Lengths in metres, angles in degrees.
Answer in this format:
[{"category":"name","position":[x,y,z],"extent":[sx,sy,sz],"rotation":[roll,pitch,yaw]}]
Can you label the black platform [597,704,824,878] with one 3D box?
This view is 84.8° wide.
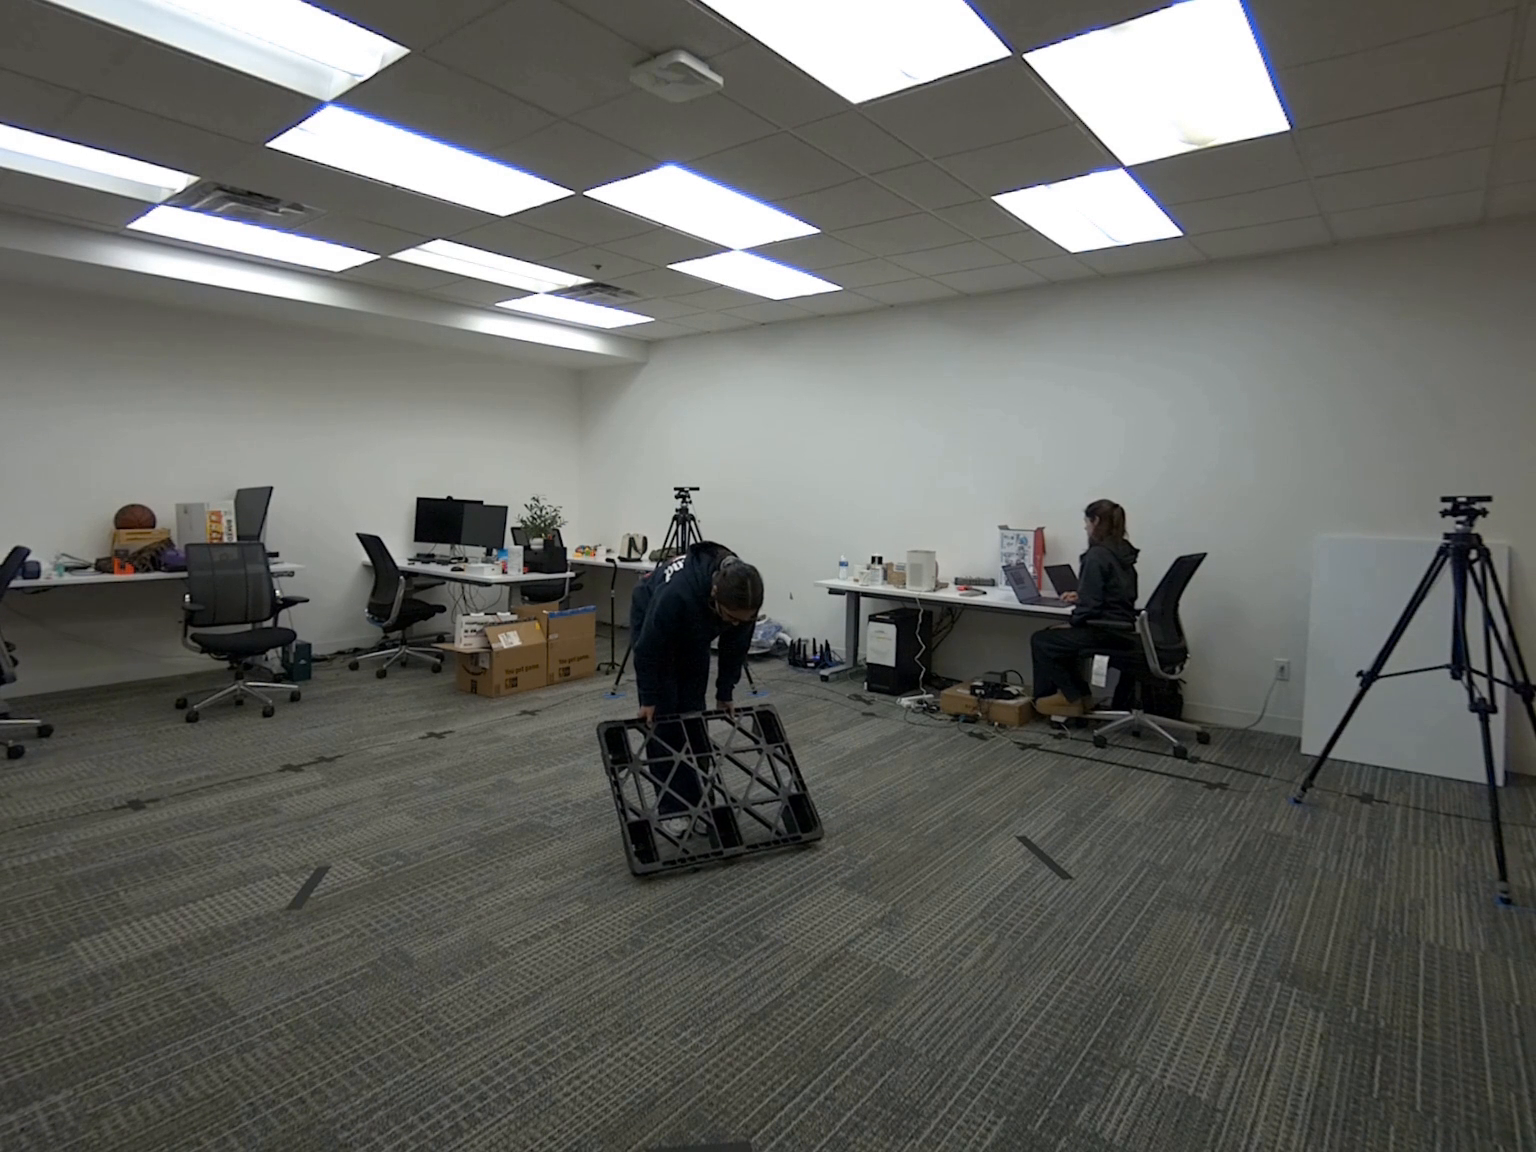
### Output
[{"category":"black platform","position":[-0.247,0.832,3.340],"extent":[0.785,0.627,0.142],"rotation":[-1,-39,-27]}]
